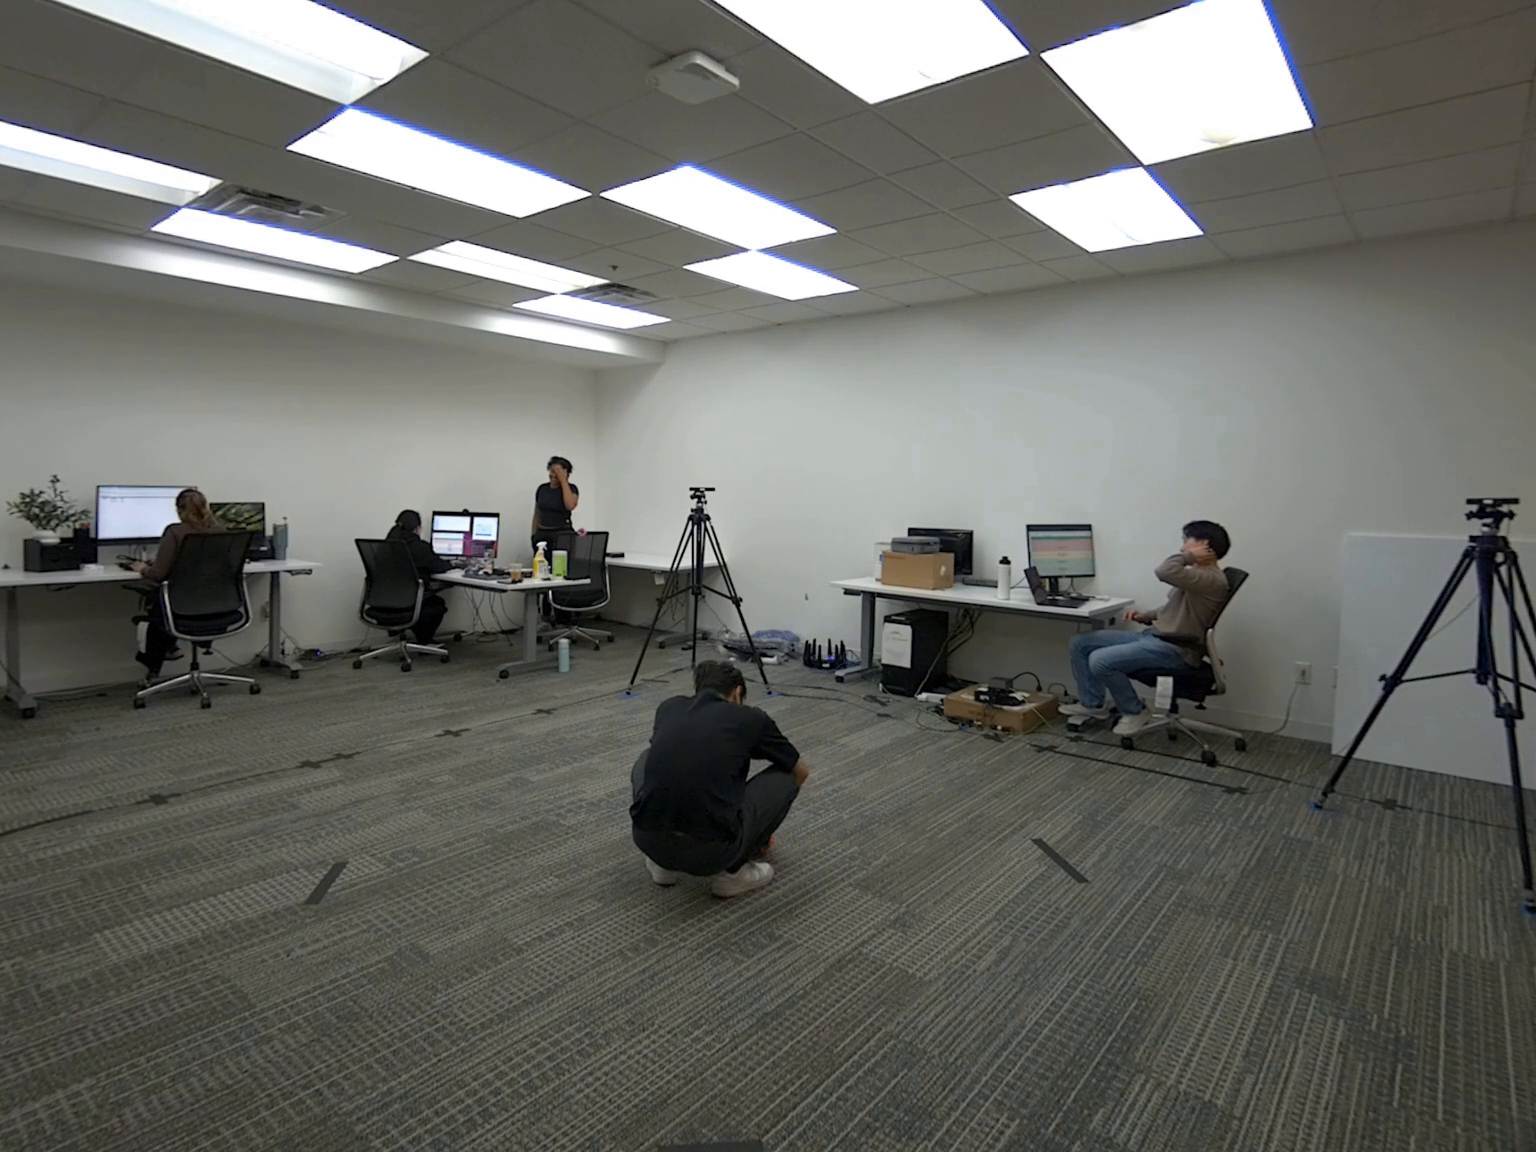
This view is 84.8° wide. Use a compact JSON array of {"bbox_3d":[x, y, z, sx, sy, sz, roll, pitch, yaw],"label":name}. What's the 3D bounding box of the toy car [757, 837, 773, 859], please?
[{"bbox_3d":[-0.105,1.011,3.259,0.256,0.083,0.129,-9,-1,7],"label":"toy car"}]
